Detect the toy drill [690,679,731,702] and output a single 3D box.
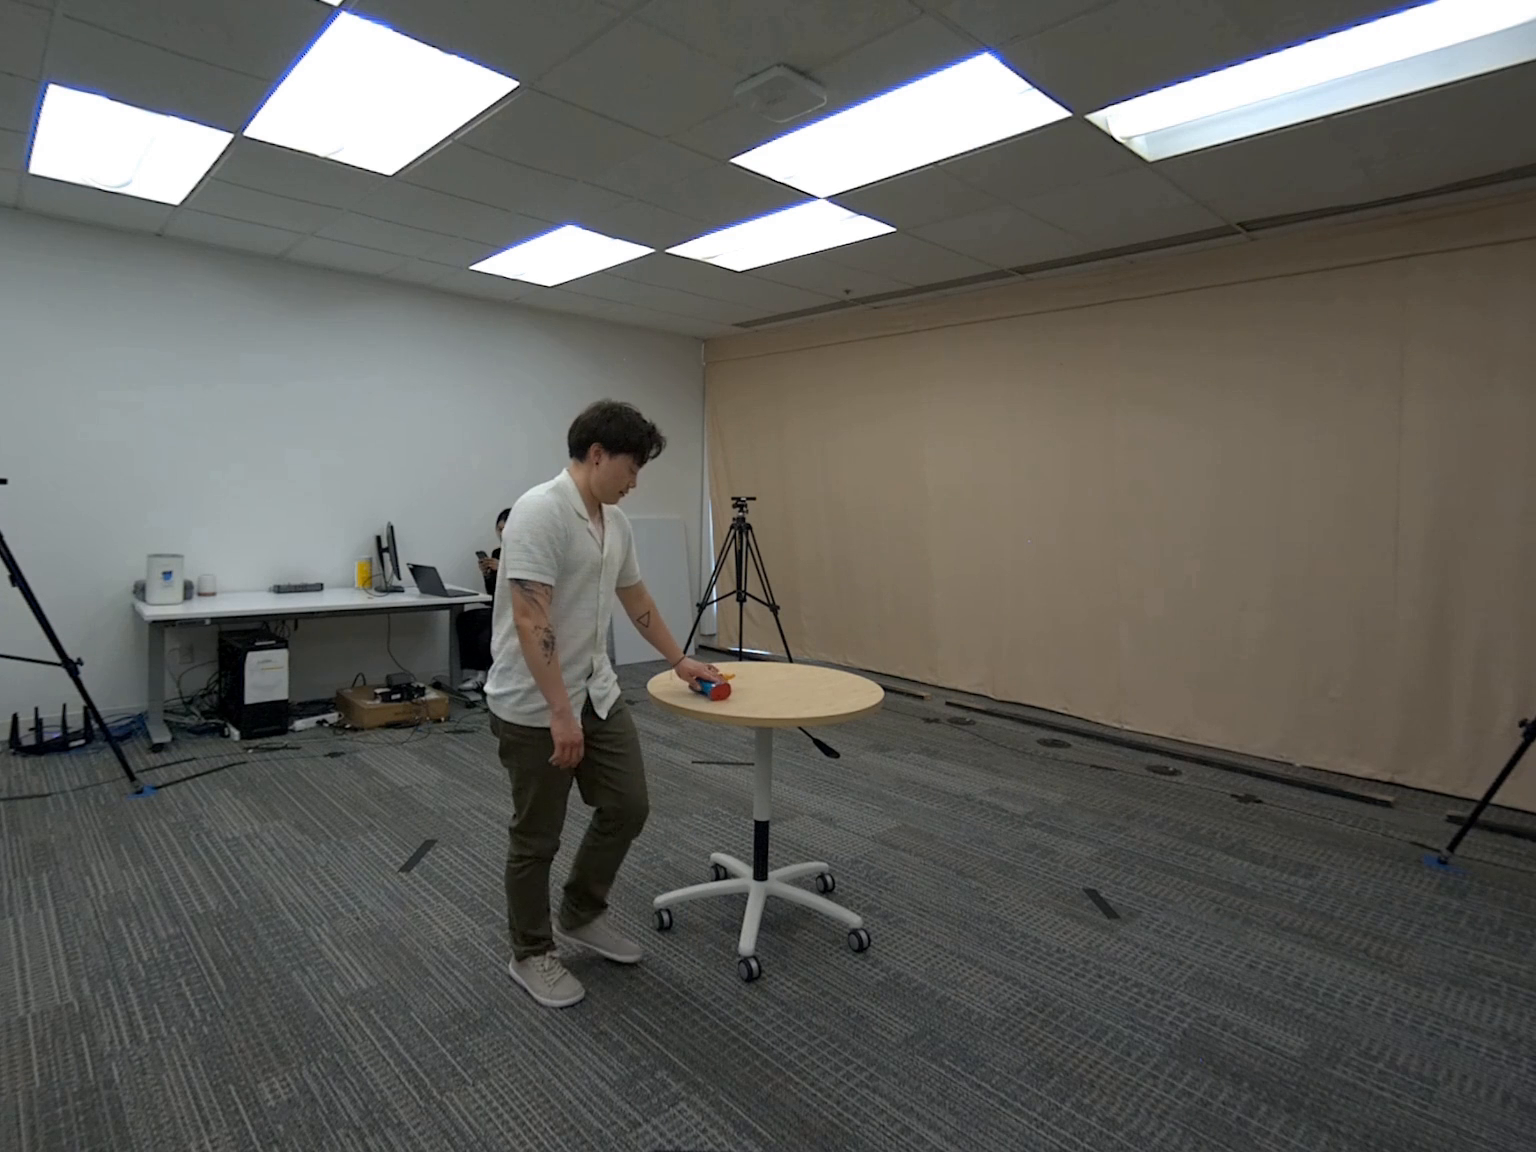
[{"bbox_3d":[-0.155,0.340,2.609,0.167,0.061,0.150,-9,13,-32],"label":"toy drill"}]
